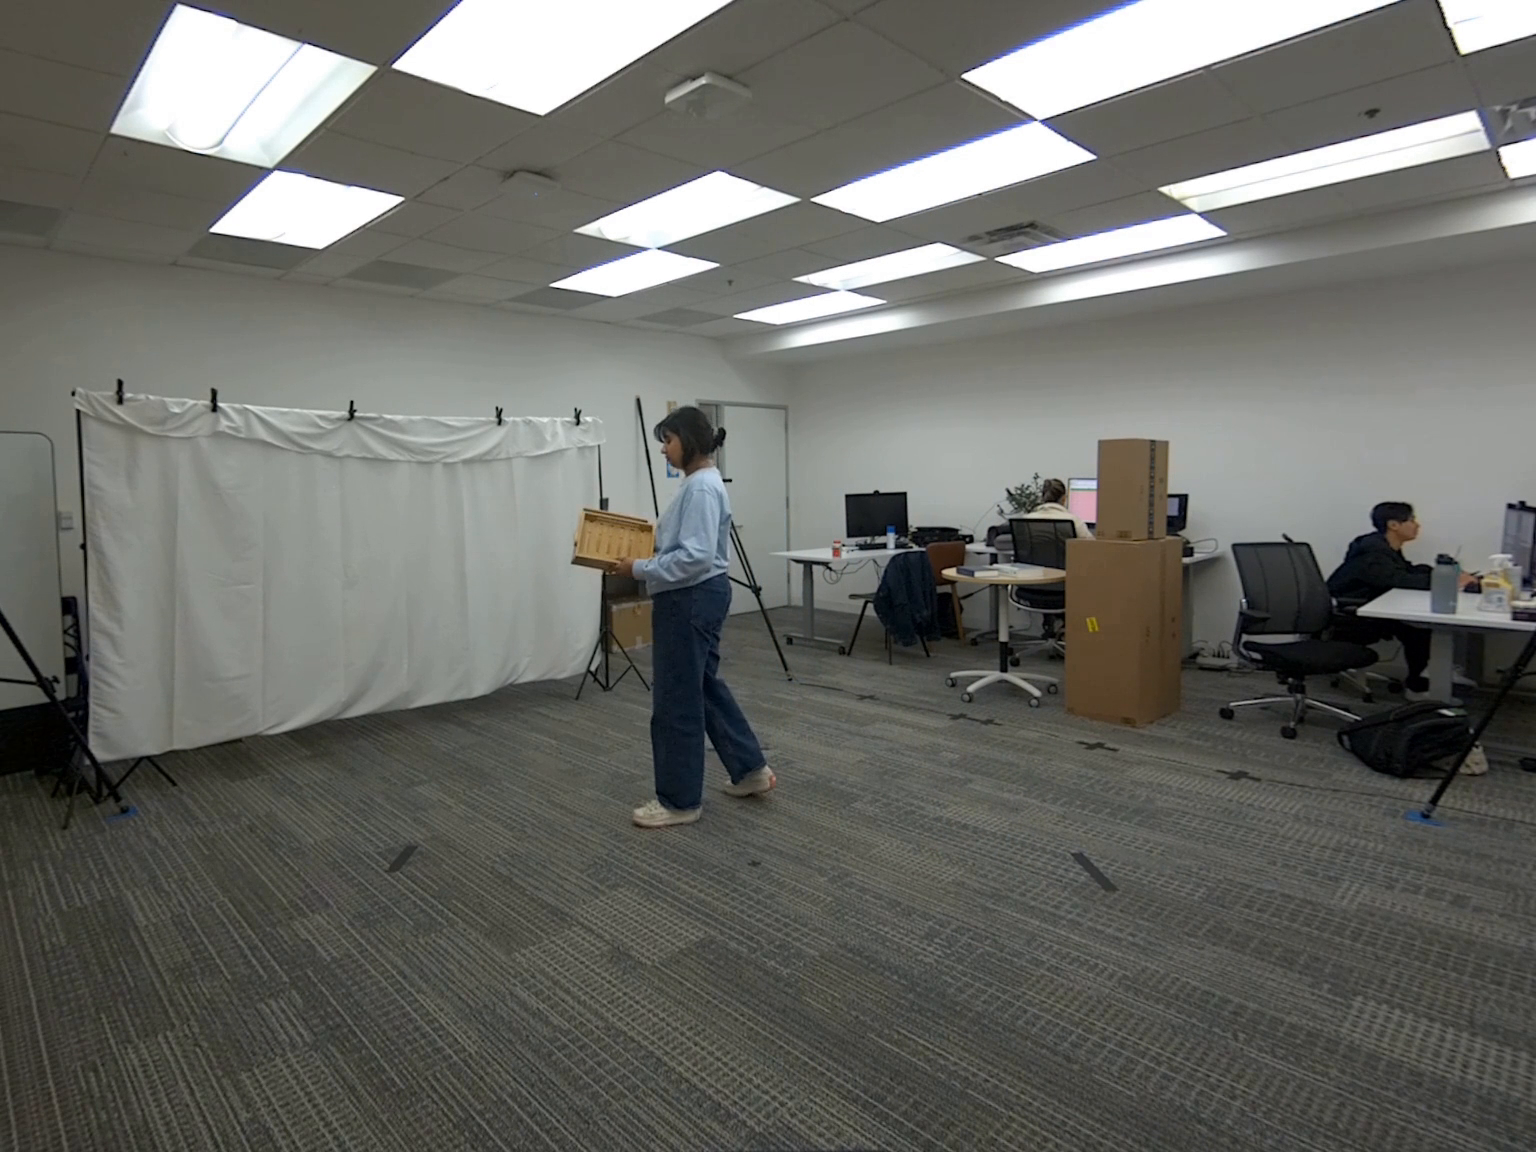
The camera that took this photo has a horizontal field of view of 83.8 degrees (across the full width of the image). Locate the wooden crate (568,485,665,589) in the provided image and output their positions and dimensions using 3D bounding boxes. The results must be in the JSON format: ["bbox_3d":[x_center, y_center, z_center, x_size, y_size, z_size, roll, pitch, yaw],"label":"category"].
[{"bbox_3d":[-0.632,-0.158,3.545,0.320,0.307,0.272,10,-21,-13],"label":"wooden crate"}]
